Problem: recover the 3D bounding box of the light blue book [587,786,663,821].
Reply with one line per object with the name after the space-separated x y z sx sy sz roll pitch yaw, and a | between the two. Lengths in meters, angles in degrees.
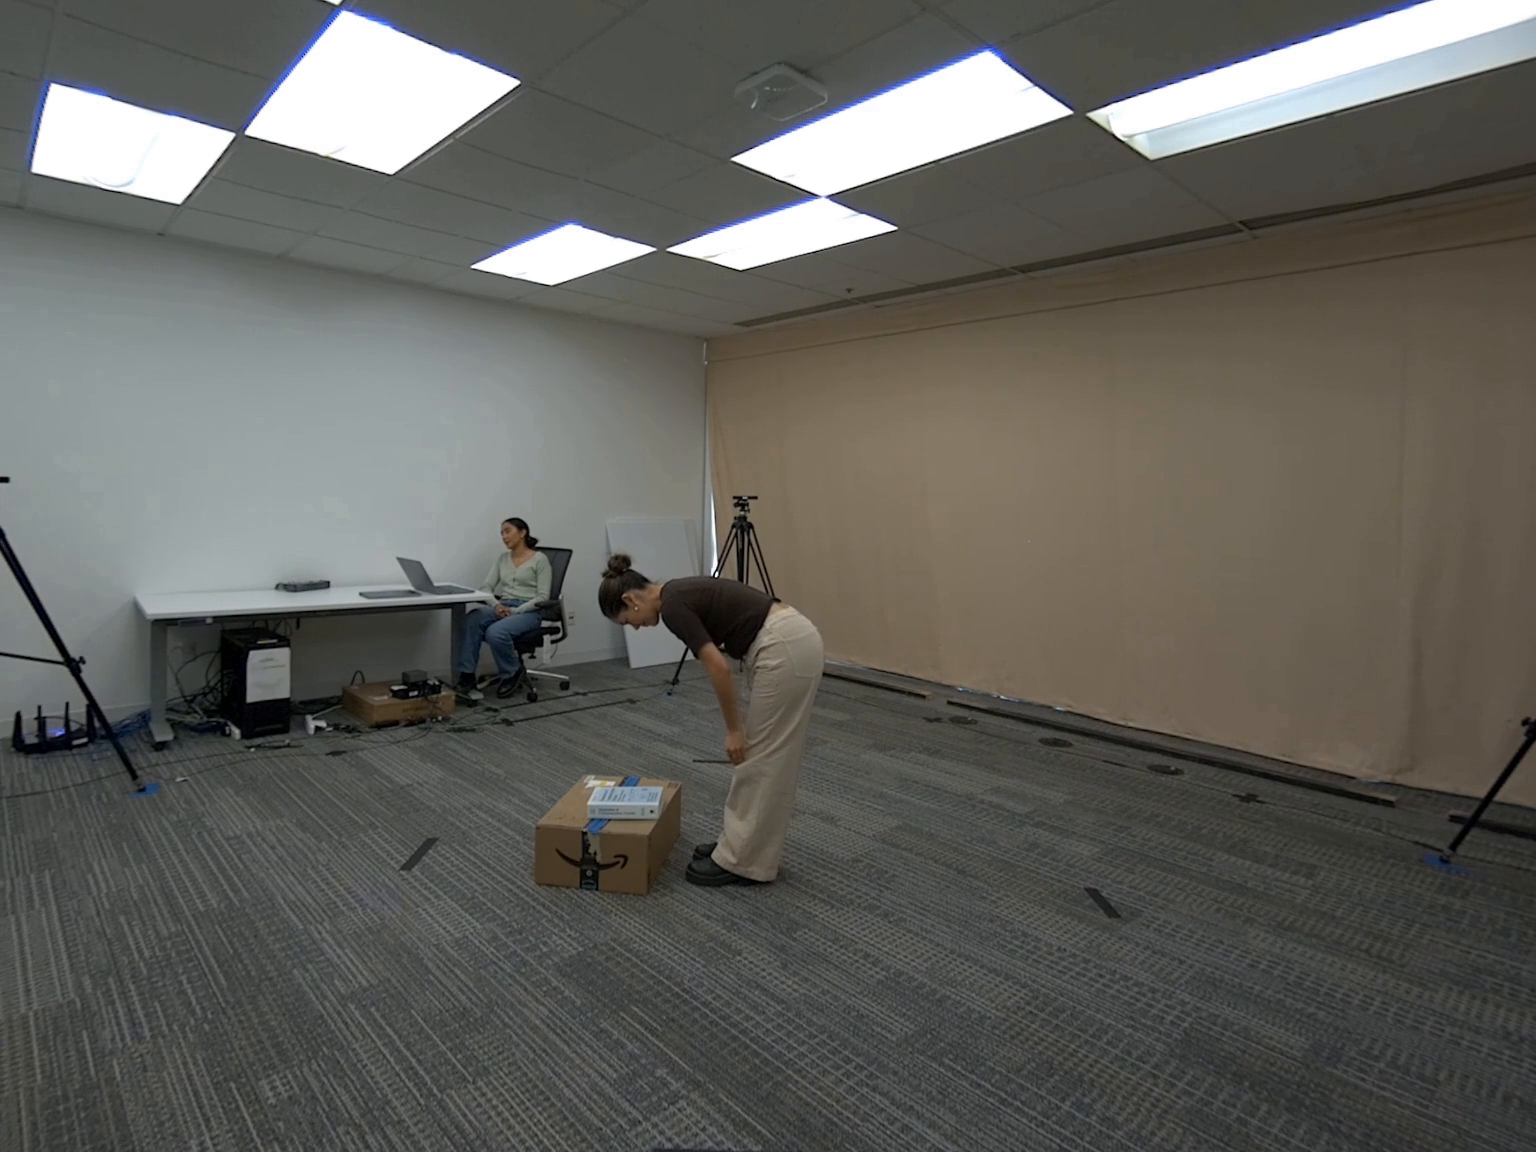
-0.531 0.842 3.153 0.261 0.059 0.192 0 4 1 | light blue book
